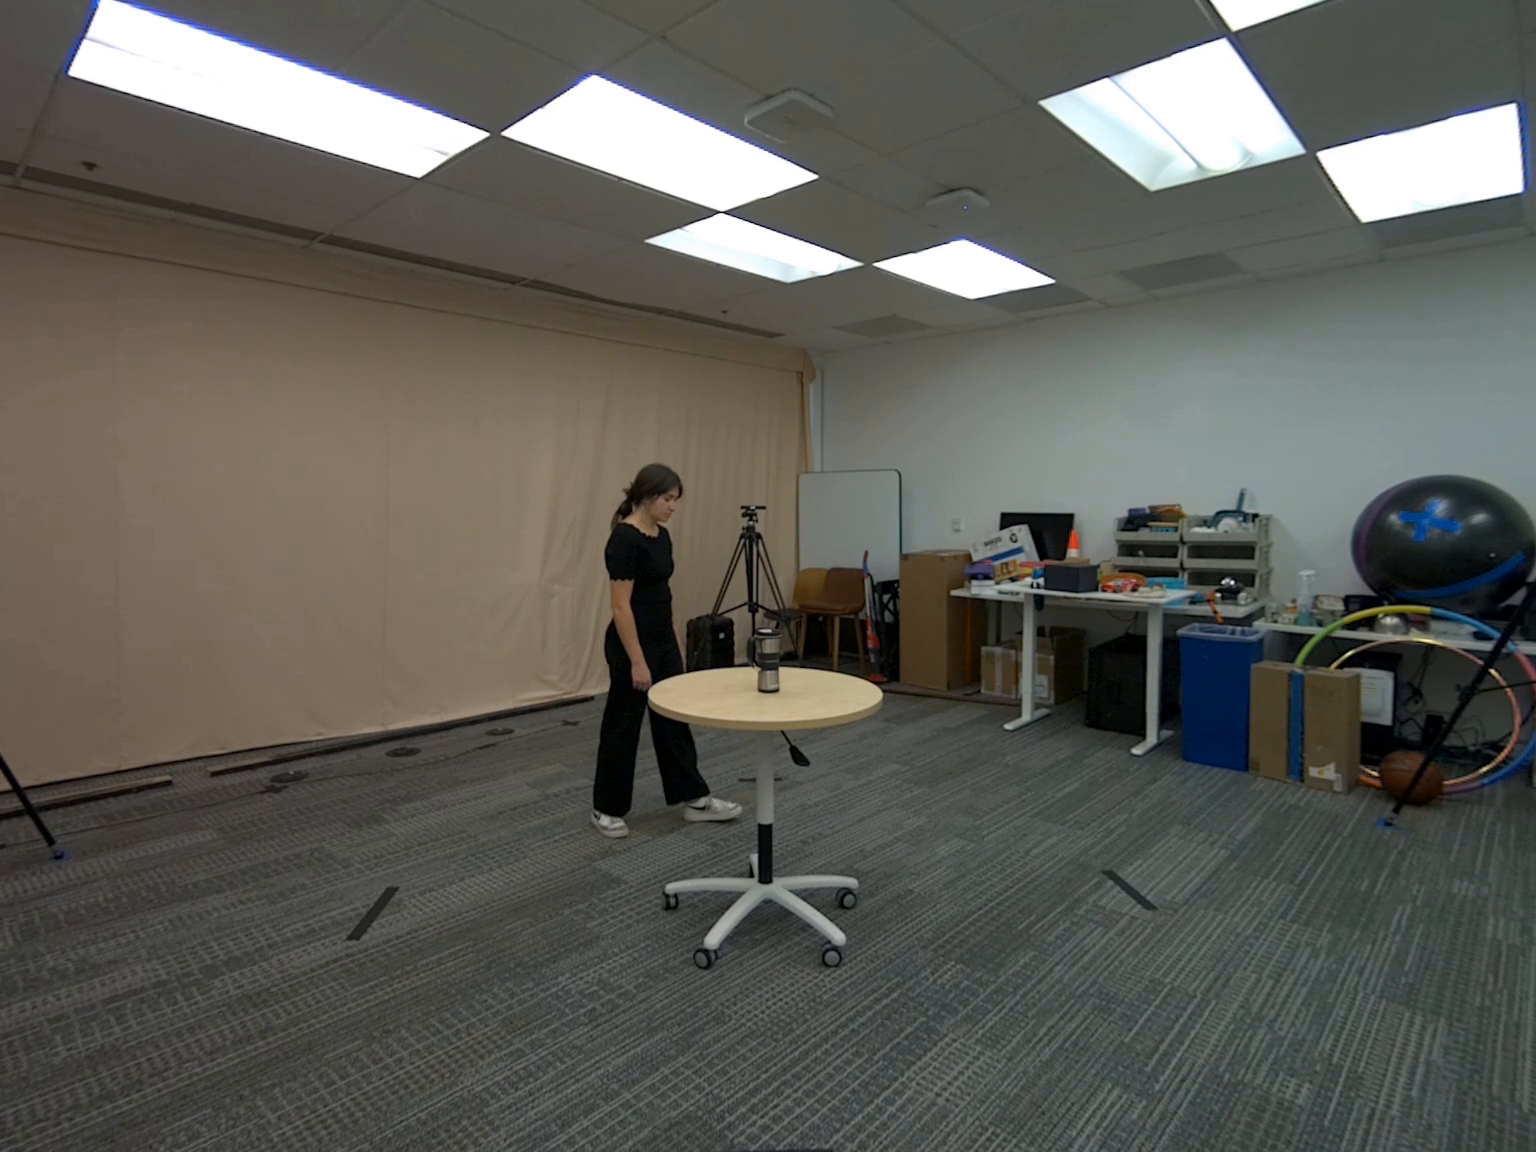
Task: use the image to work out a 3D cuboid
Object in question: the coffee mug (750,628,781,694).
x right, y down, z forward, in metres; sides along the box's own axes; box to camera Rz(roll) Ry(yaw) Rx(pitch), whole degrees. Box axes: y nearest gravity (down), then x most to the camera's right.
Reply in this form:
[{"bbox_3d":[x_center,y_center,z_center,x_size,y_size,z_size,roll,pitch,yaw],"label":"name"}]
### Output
[{"bbox_3d":[-0.010,0.278,2.768,0.125,0.202,0.086,5,8,26],"label":"coffee mug"}]
